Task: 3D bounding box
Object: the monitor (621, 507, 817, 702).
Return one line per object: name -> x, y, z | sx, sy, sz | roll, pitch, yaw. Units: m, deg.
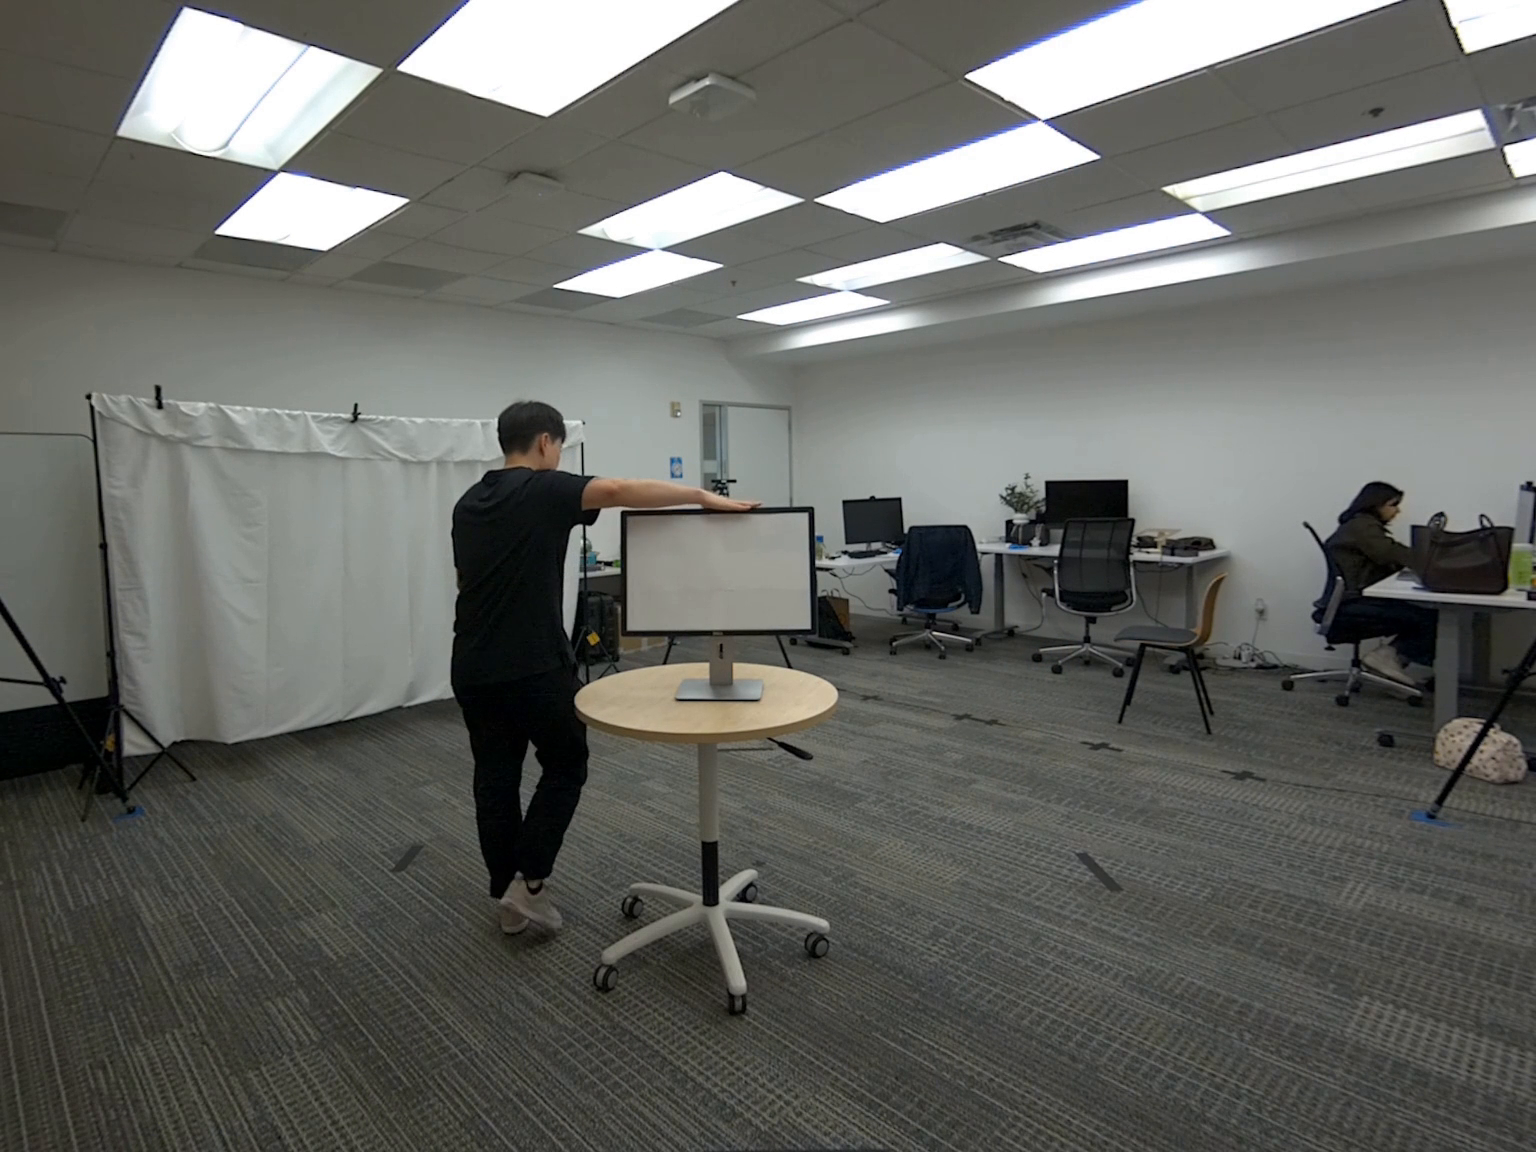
monitor -> -0.137, 0.078, 2.488 | 0.541, 0.520, 0.187 | -2, 6, 3
